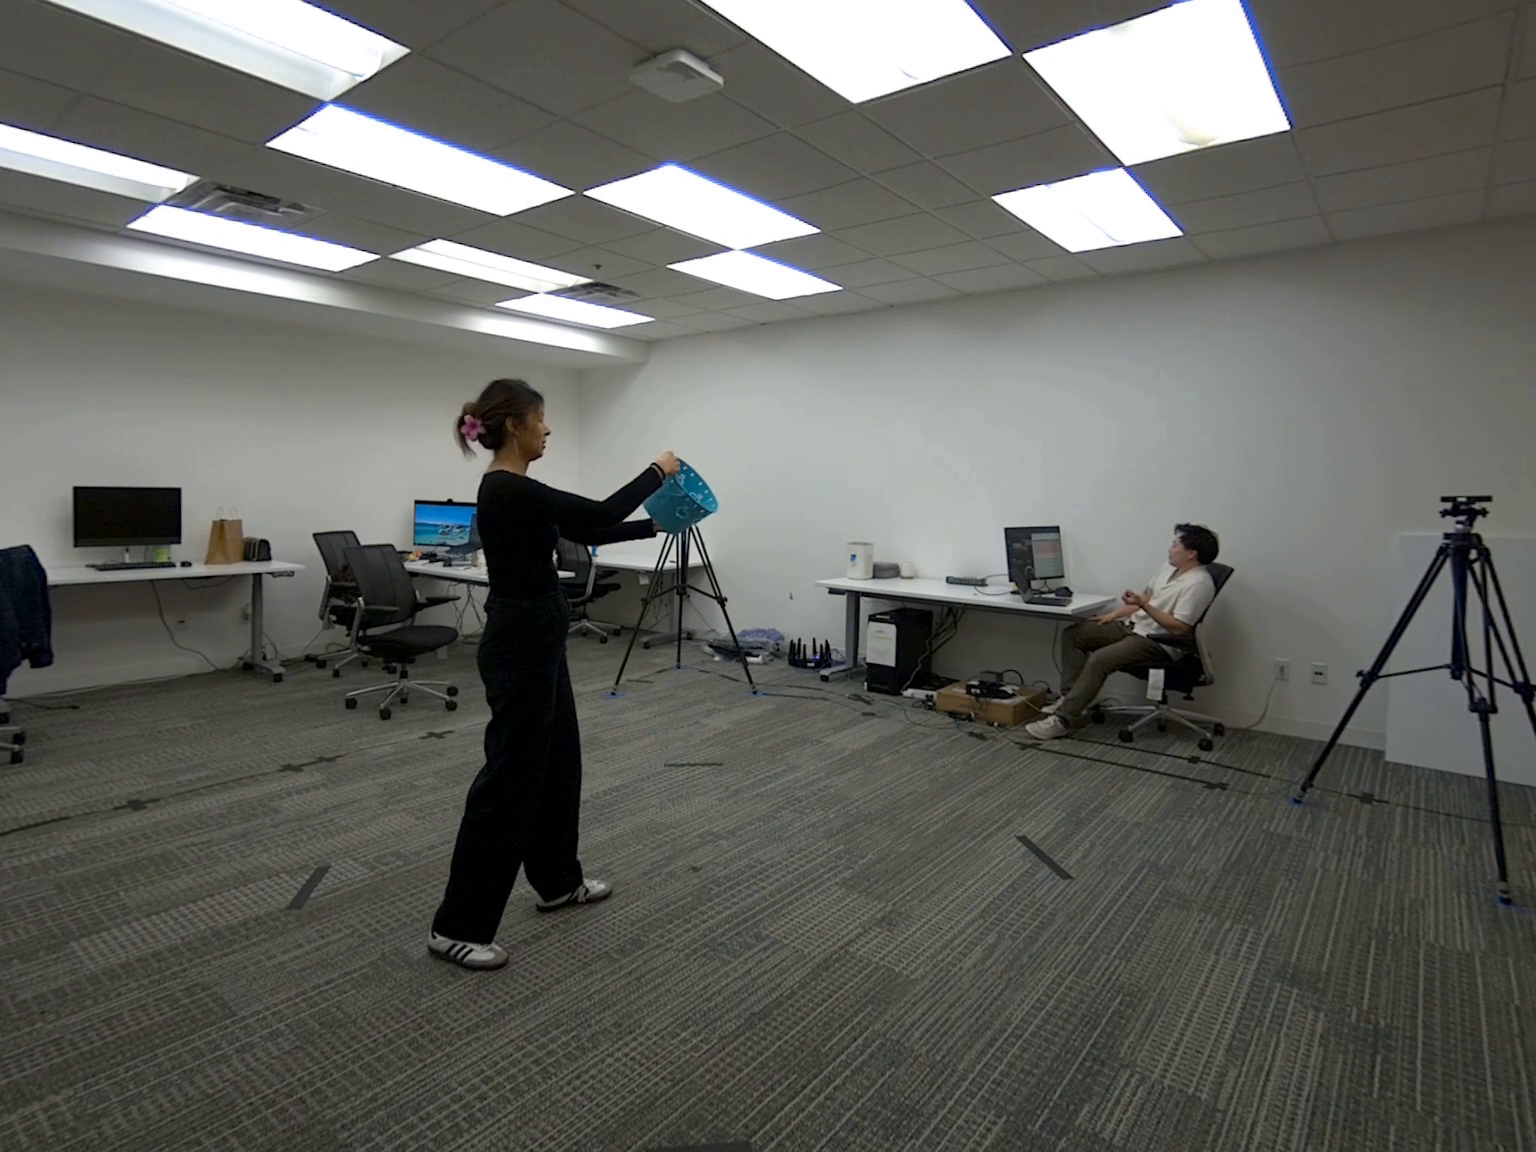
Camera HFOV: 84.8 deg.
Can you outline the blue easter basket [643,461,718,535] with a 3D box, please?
[{"bbox_3d":[-0.306,-0.250,2.712,0.156,0.247,0.239,-40,-10,18],"label":"blue easter basket"}]
